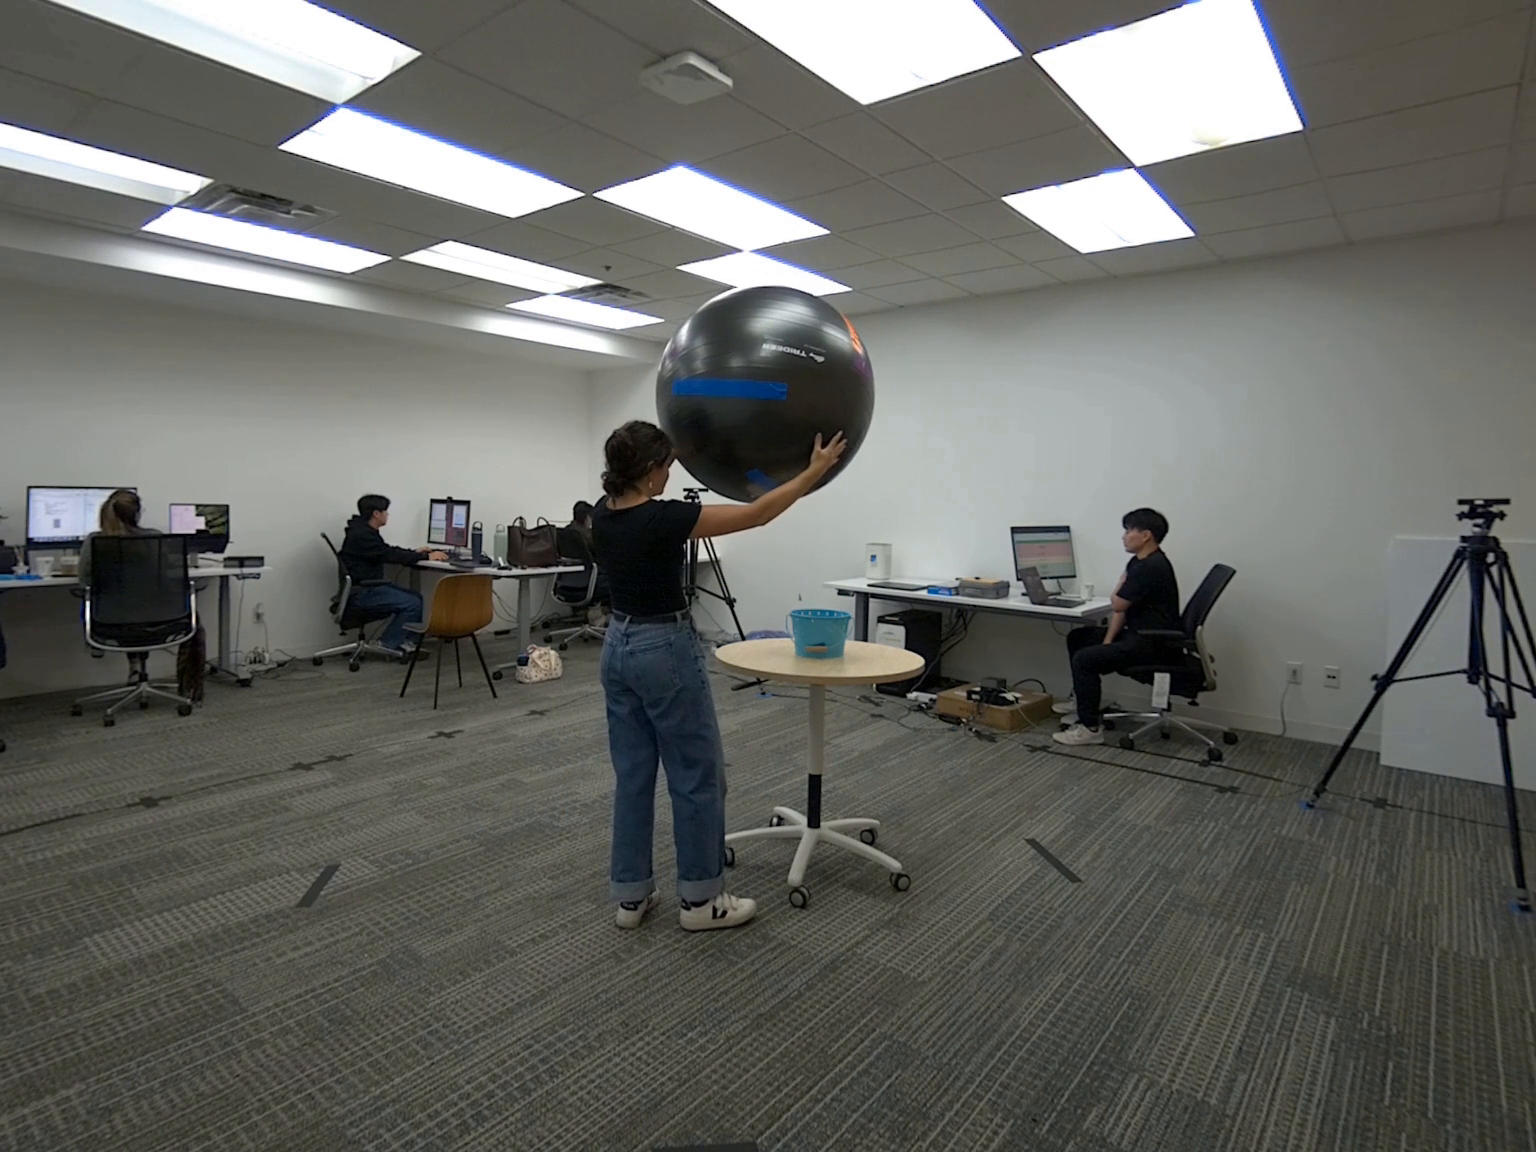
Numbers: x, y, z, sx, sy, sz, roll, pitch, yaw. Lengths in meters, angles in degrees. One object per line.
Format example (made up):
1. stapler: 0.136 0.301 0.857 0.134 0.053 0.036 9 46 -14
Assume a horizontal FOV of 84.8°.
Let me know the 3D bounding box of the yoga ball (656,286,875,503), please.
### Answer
1. yoga ball: -0.018 -0.632 2.975 0.757 0.756 0.762 1 4 -2
